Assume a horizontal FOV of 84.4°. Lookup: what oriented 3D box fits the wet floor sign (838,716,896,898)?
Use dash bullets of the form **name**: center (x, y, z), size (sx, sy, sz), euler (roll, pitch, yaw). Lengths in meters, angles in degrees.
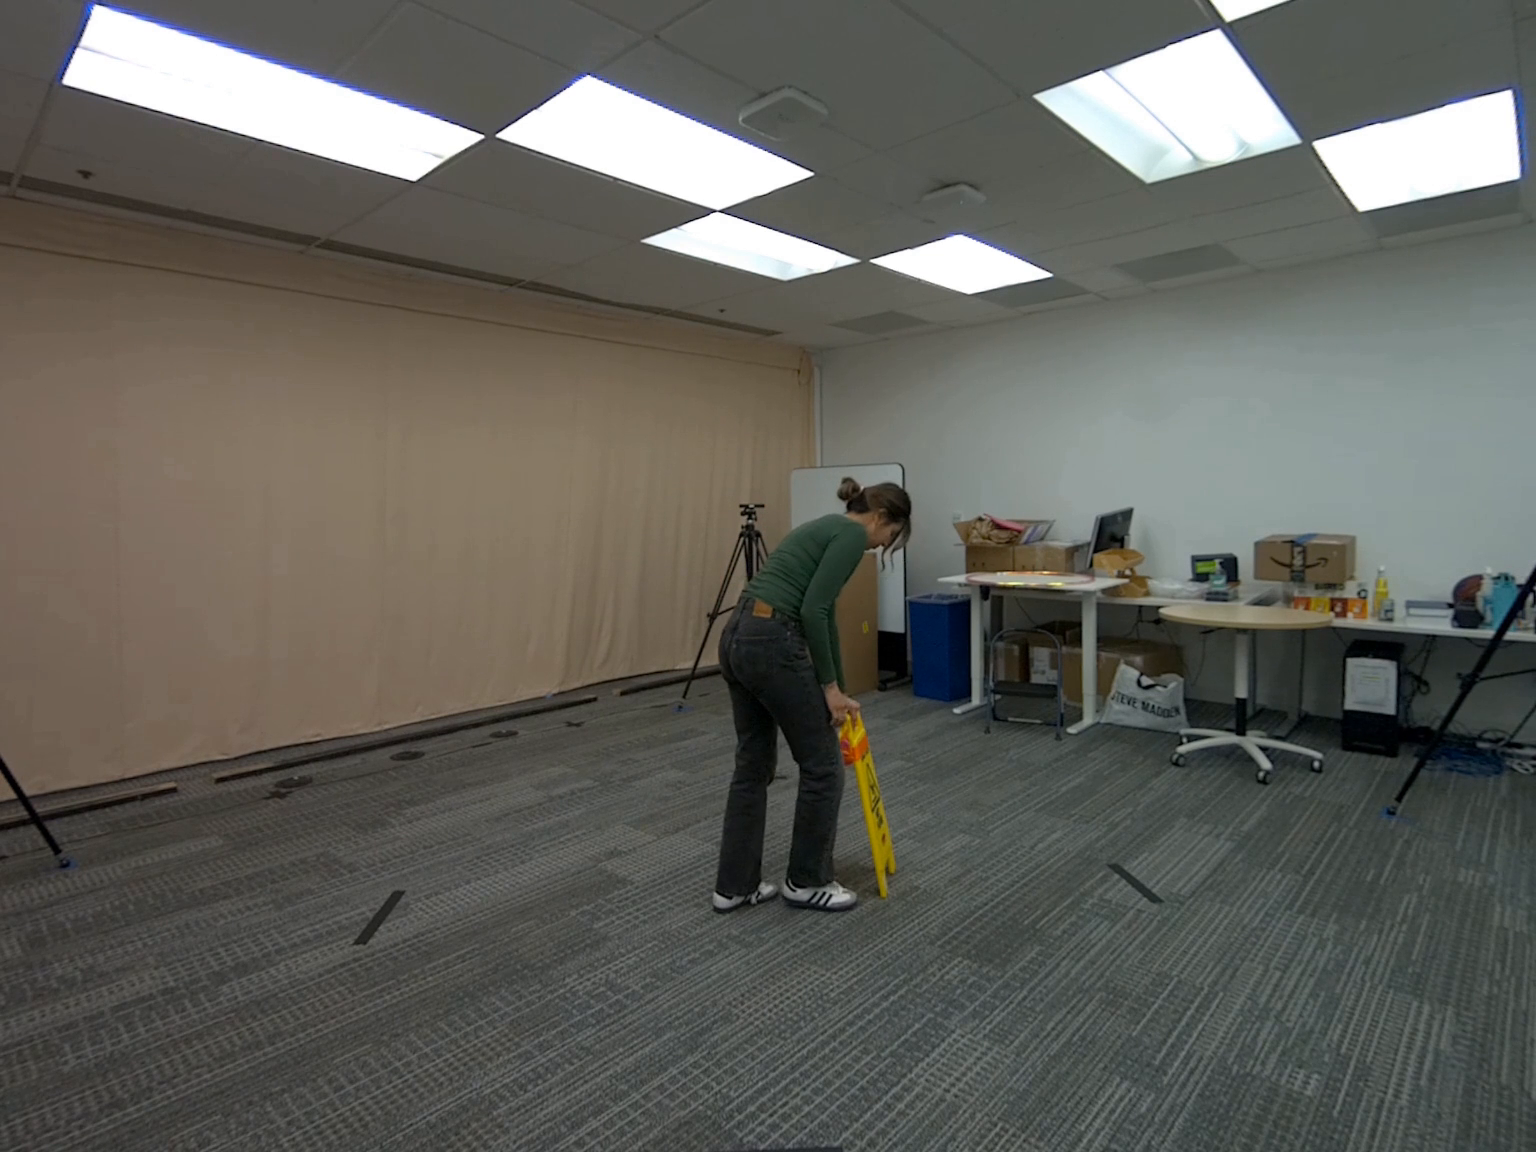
- **wet floor sign**: center (0.307, 0.799, 3.120), size (0.295, 0.645, 0.277), euler (1, 3, 18)
